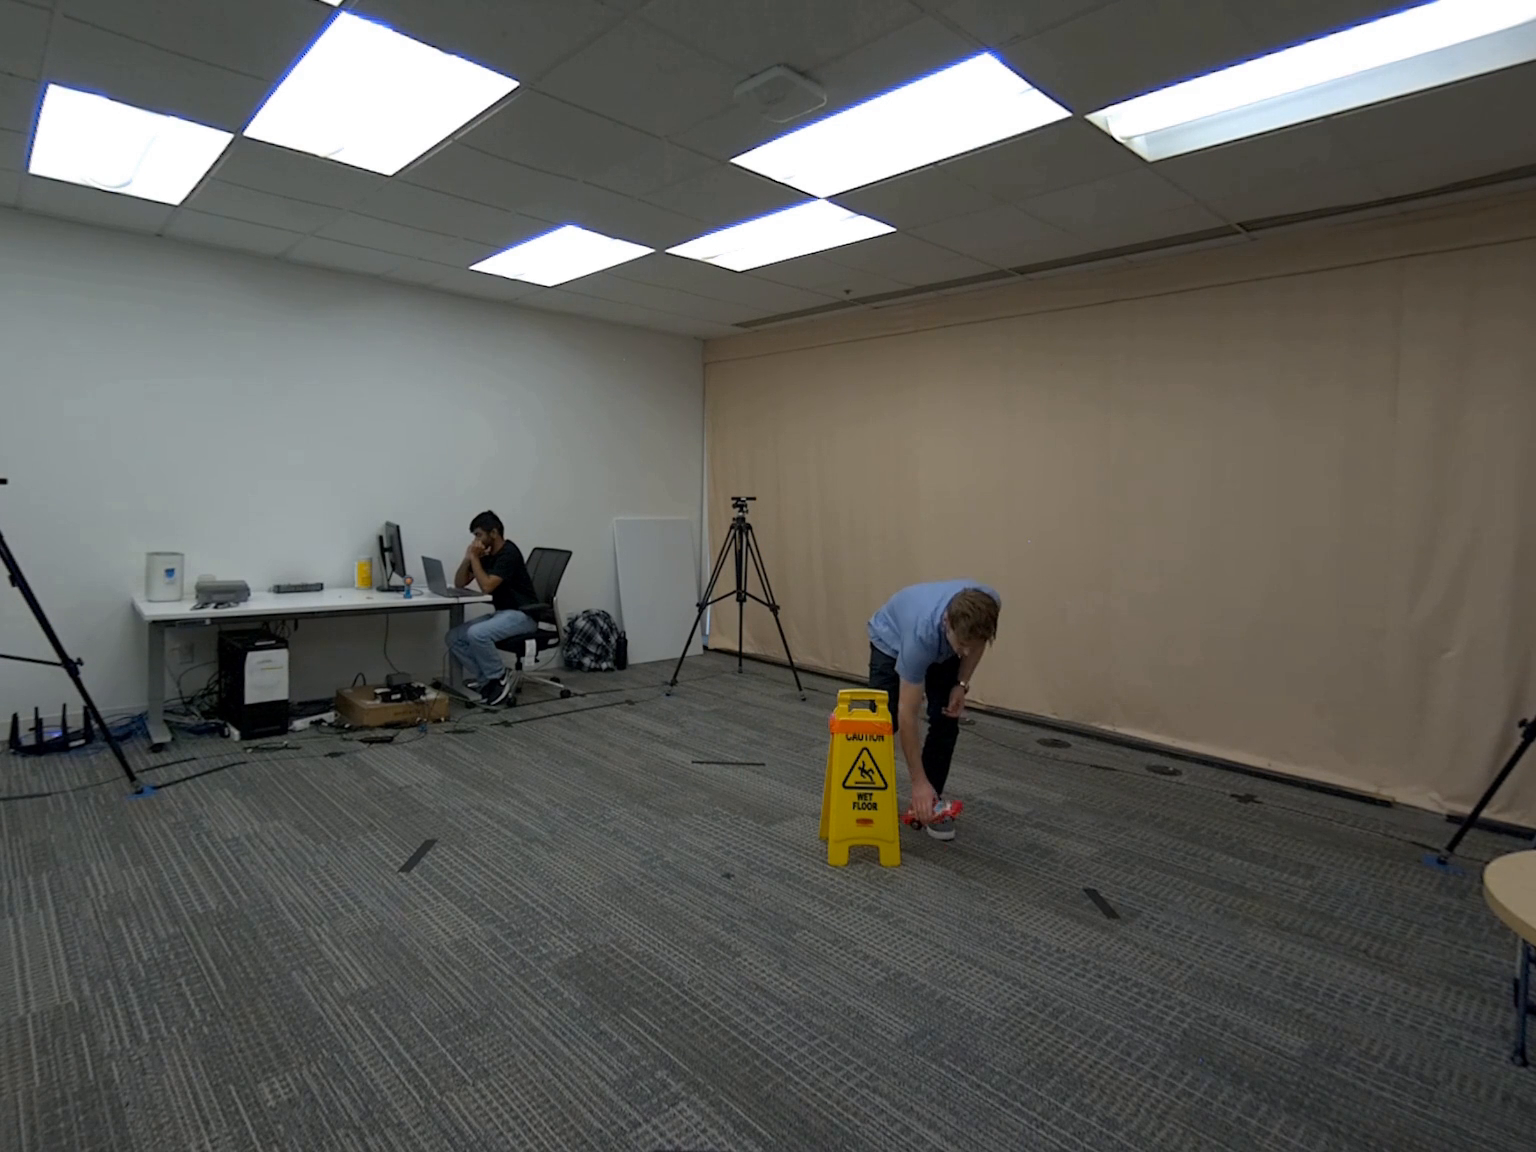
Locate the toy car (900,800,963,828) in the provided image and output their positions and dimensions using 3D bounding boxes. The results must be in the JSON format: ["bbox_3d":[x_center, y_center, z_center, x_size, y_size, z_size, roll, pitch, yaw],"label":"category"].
[{"bbox_3d":[0.626,0.947,3.340,0.259,0.083,0.129,-4,9,26],"label":"toy car"}]
